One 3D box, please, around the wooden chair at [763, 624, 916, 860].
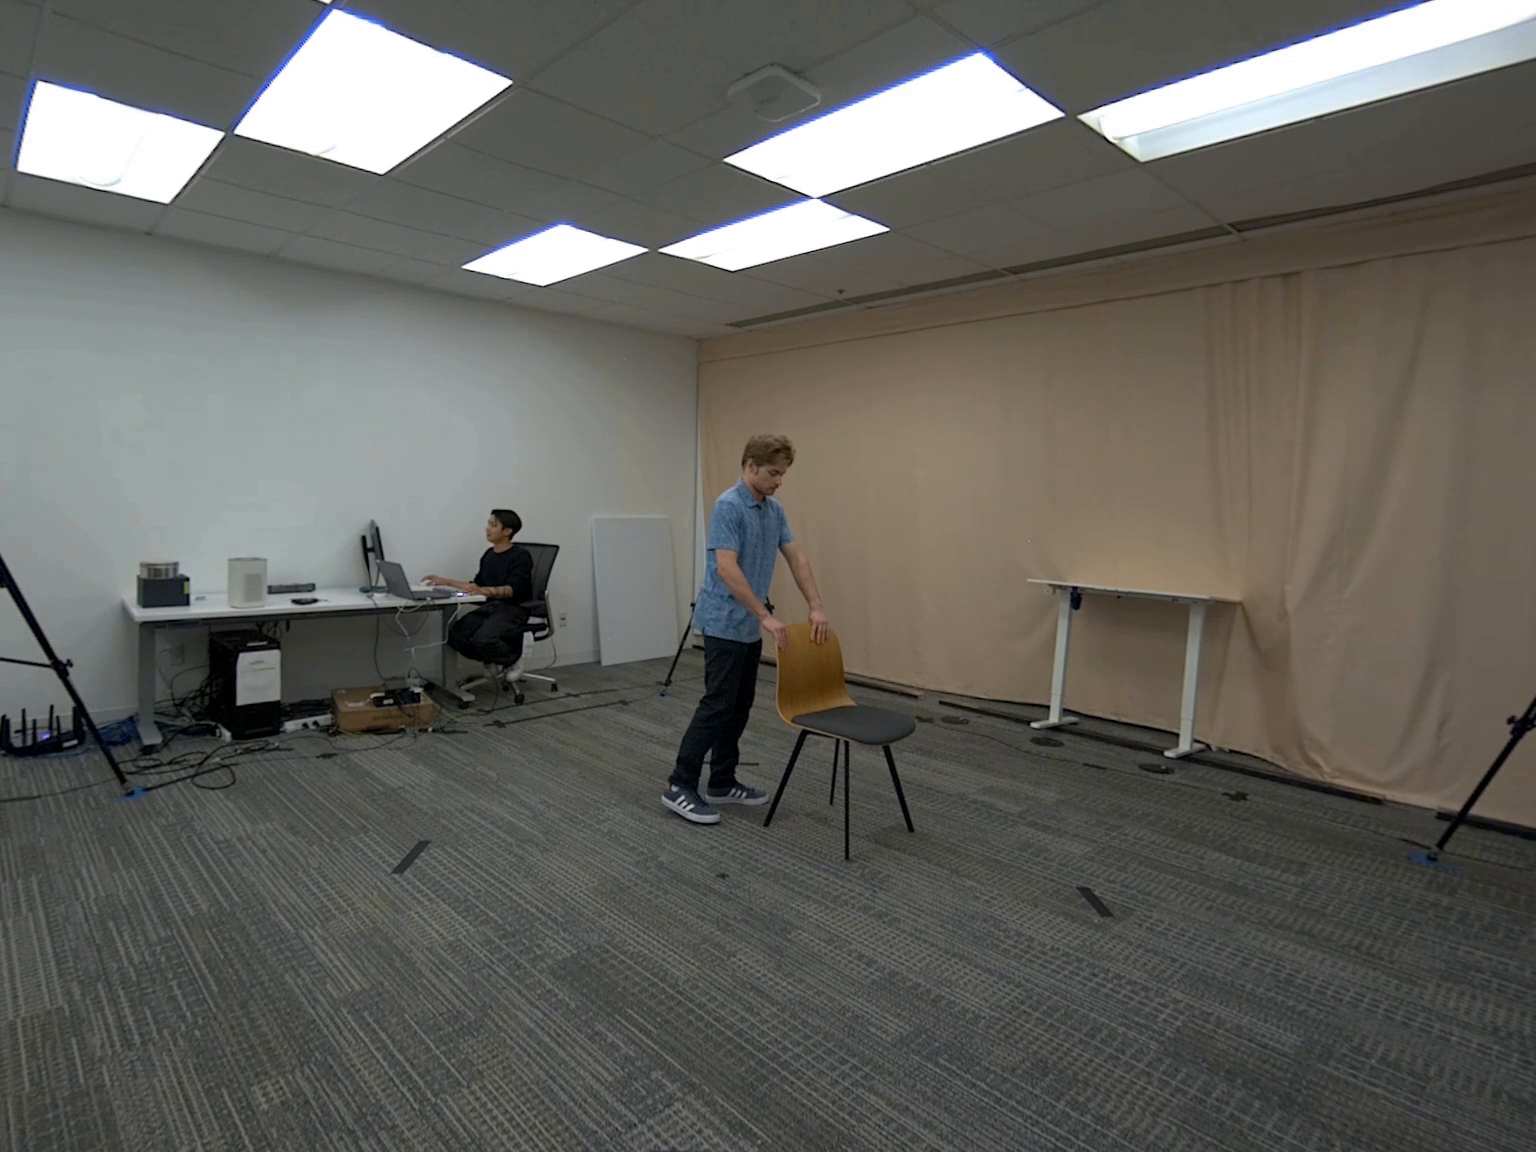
[{"bbox_3d":[0.308,0.649,3.539,0.467,0.878,0.535,-1,-1,-45],"label":"wooden chair"}]
